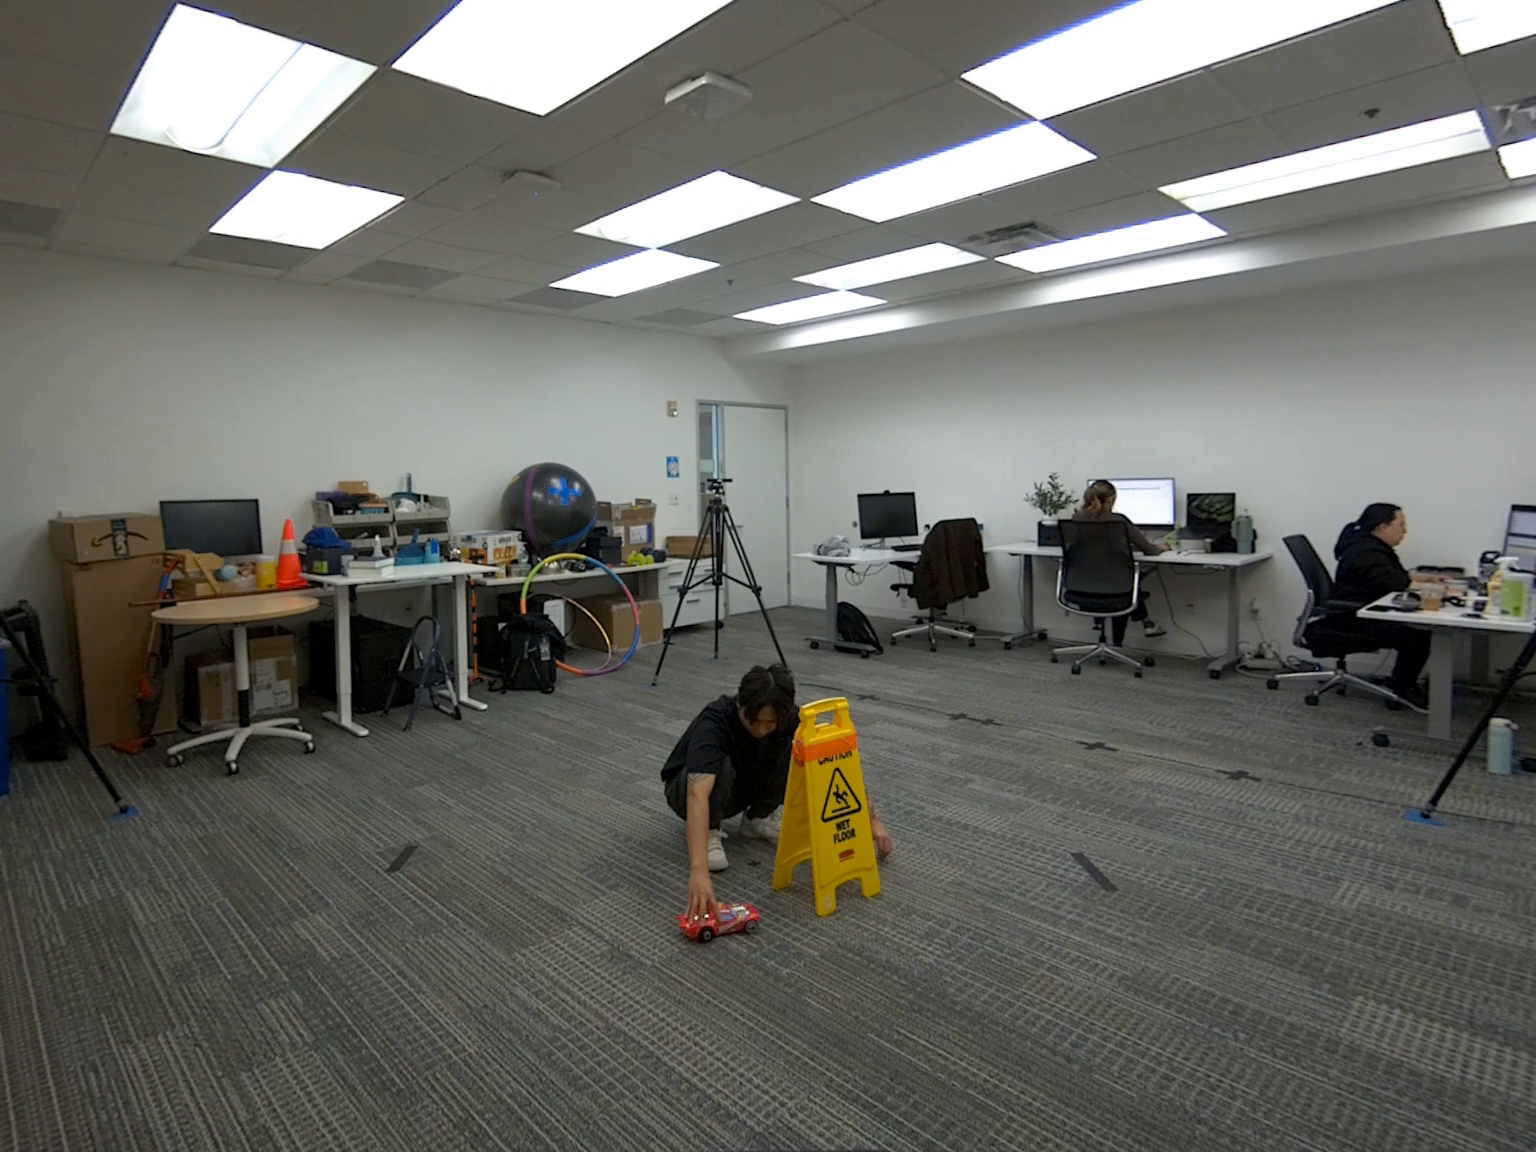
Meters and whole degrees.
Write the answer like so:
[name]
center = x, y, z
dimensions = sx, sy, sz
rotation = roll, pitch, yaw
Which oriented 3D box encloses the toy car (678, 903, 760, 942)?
[toy car]
center = -0.157, 1.073, 2.653
dimensions = 0.249, 0.083, 0.133
rotation = 7, 2, -20
